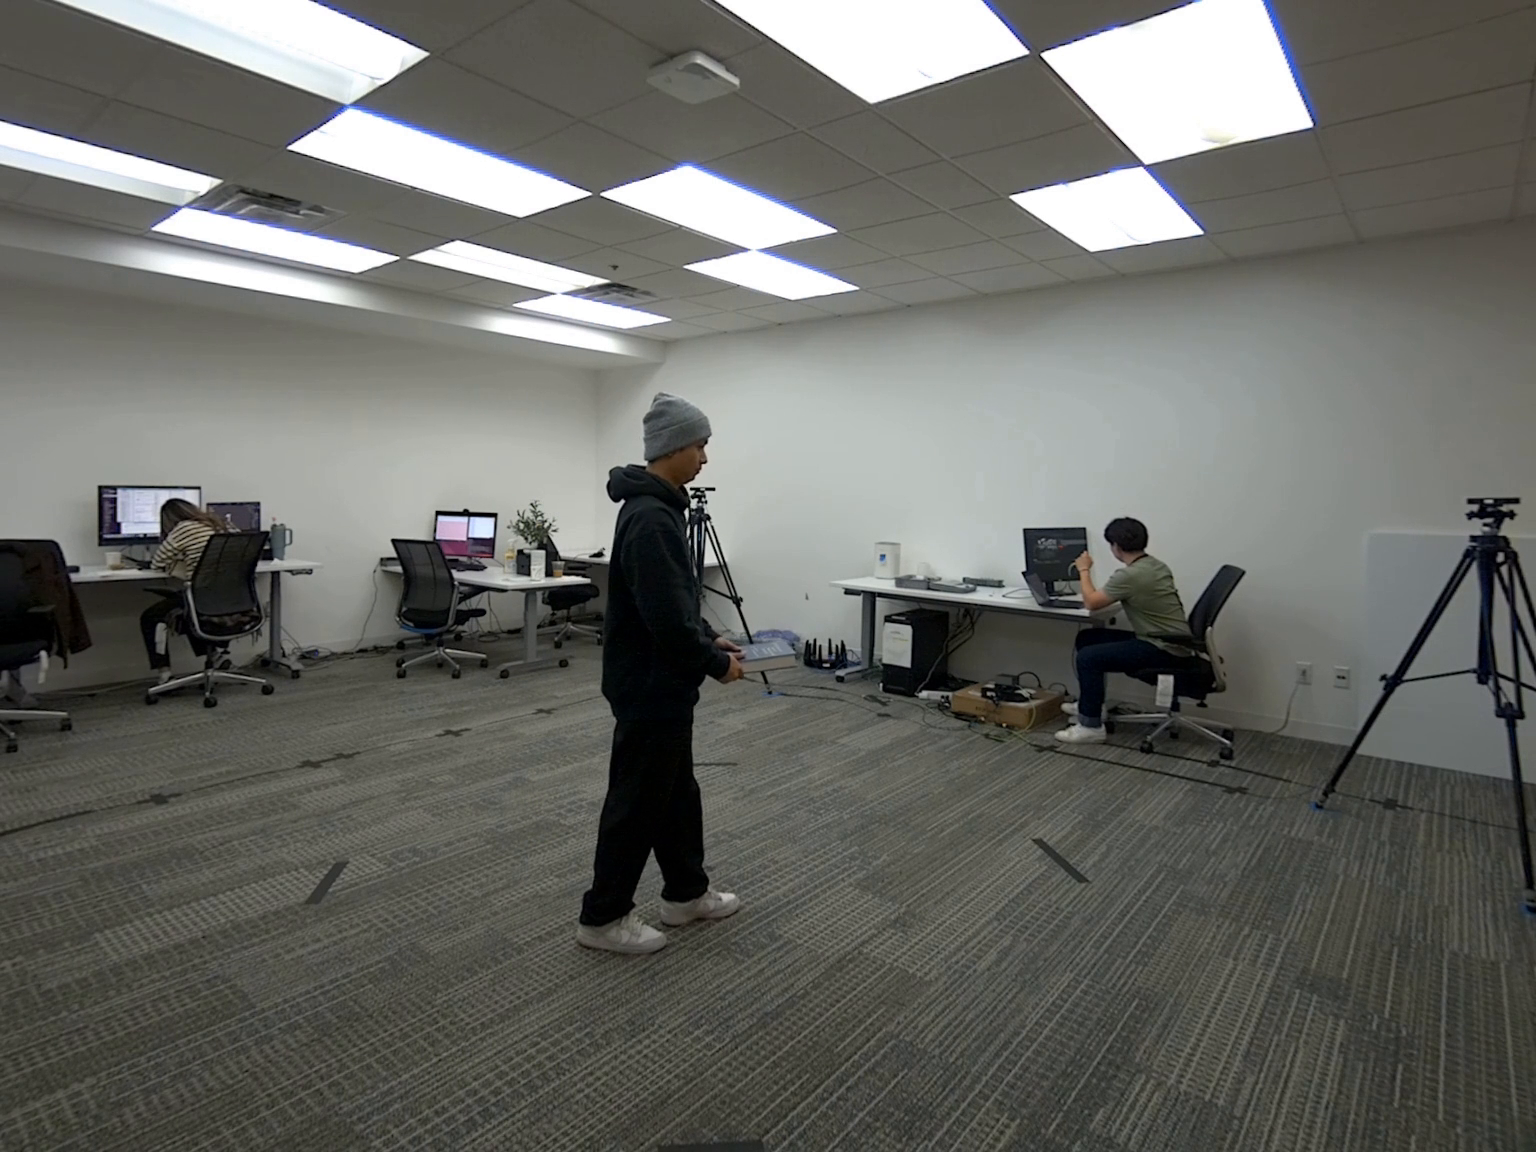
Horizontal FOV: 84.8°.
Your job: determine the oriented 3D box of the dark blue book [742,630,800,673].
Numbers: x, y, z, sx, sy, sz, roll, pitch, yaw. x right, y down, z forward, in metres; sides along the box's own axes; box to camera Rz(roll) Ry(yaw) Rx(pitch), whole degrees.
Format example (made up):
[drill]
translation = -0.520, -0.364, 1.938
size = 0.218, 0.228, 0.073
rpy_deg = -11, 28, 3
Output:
[dark blue book]
translation = -0.063, 0.252, 2.627
size = 0.244, 0.045, 0.166
rpy_deg = -6, 11, -4
